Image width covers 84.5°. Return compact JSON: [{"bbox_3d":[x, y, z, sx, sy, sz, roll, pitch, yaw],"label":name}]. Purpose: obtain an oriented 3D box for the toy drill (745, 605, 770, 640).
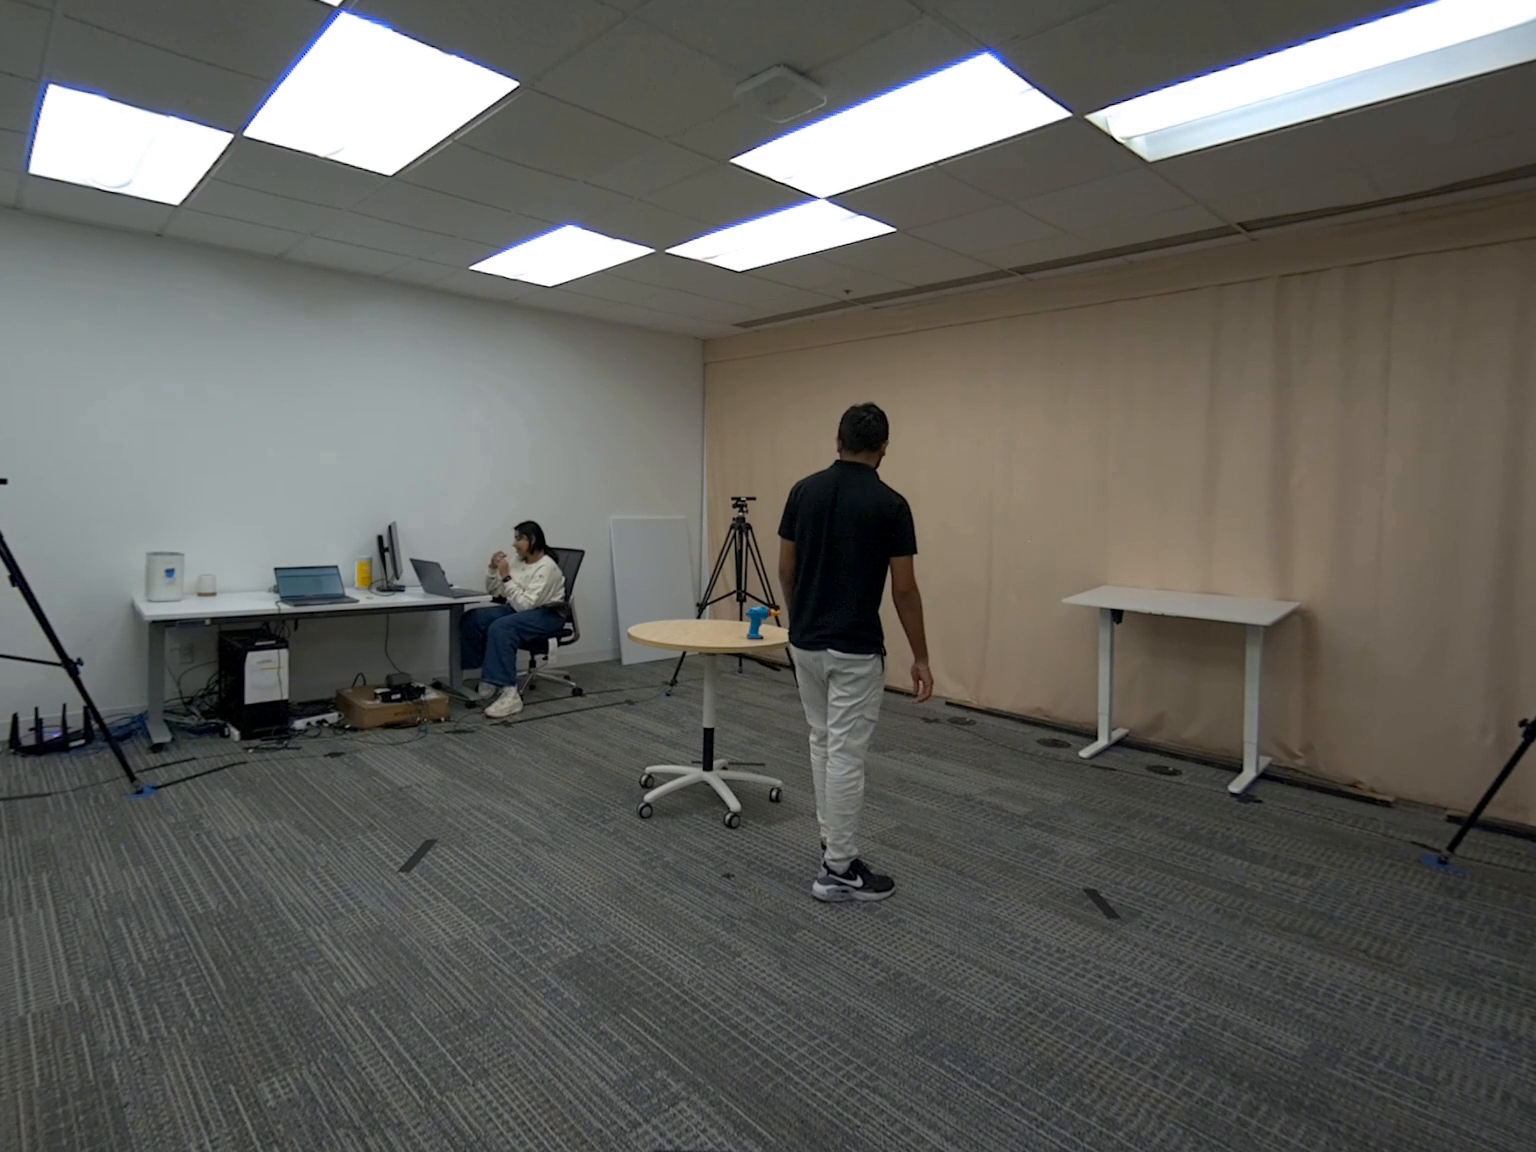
[{"bbox_3d":[-0.023,0.204,3.702,0.167,0.146,0.062,0,2,-19],"label":"toy drill"}]
